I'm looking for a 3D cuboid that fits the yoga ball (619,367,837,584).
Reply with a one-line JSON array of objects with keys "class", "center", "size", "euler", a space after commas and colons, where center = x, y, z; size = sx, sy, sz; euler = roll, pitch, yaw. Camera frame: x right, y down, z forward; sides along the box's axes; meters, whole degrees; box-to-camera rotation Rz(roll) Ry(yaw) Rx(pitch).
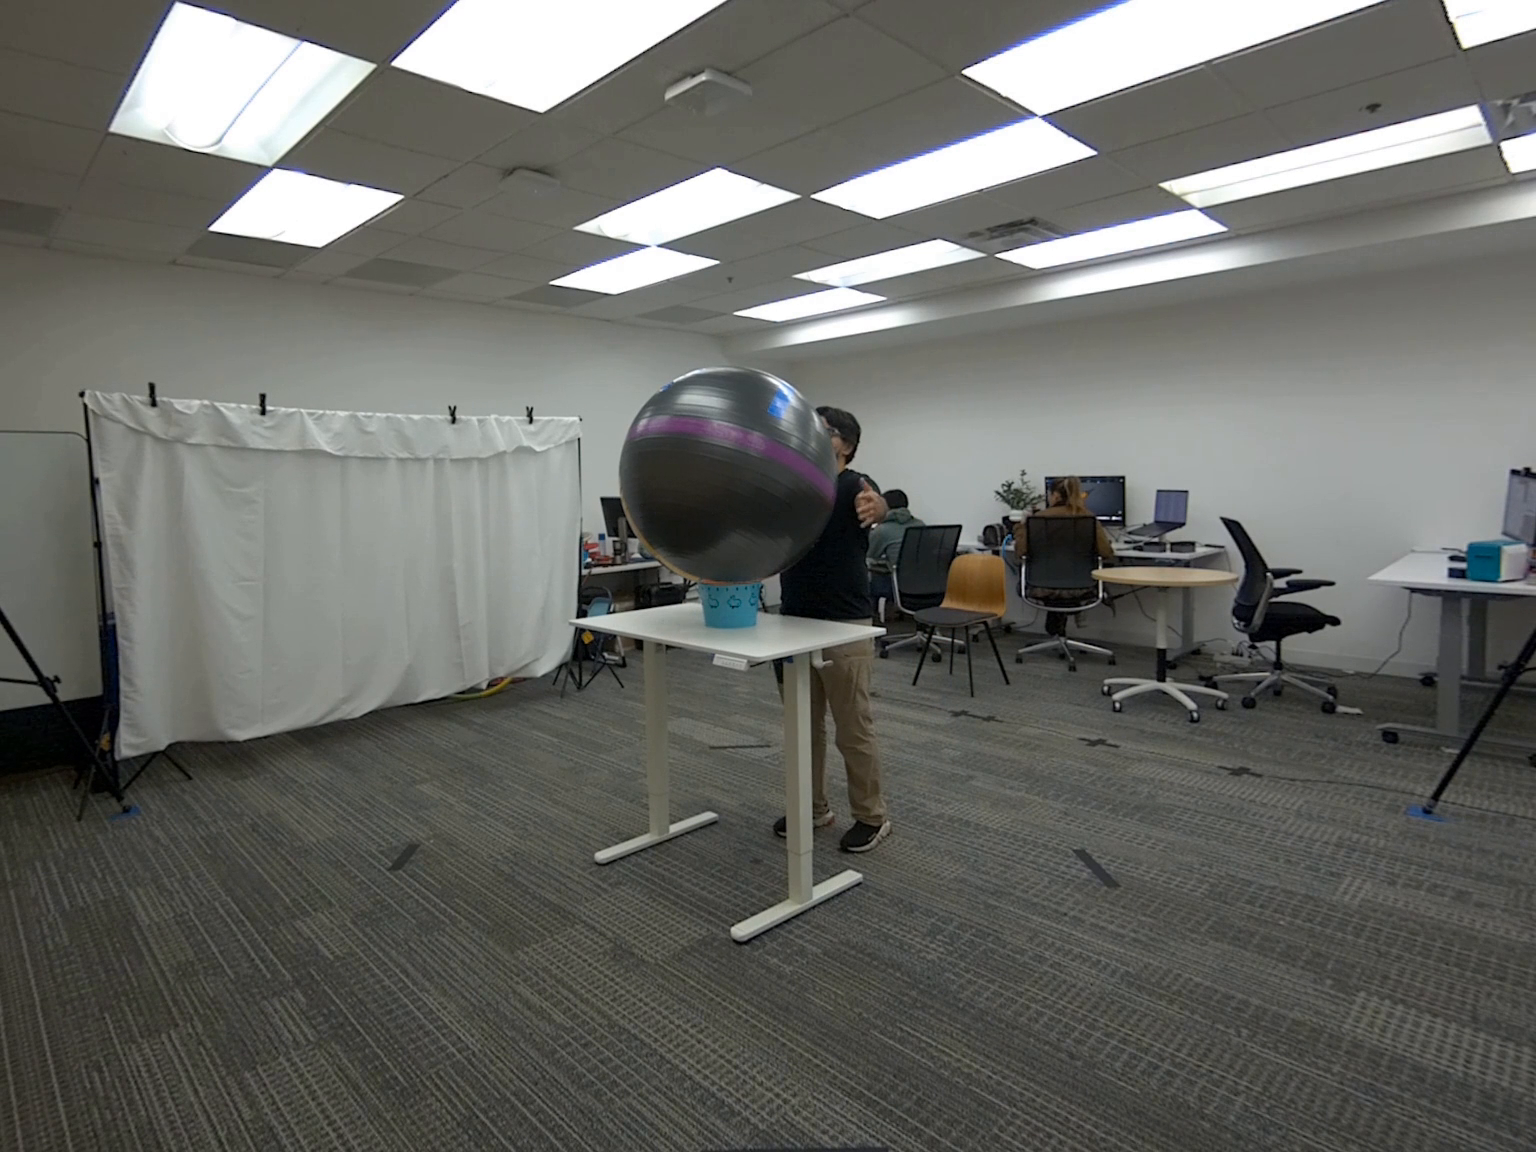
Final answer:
[{"class": "yoga ball", "center": [-0.147, -0.340, 2.971], "size": [0.757, 0.755, 0.762], "euler": [-1, 5, -2]}]
